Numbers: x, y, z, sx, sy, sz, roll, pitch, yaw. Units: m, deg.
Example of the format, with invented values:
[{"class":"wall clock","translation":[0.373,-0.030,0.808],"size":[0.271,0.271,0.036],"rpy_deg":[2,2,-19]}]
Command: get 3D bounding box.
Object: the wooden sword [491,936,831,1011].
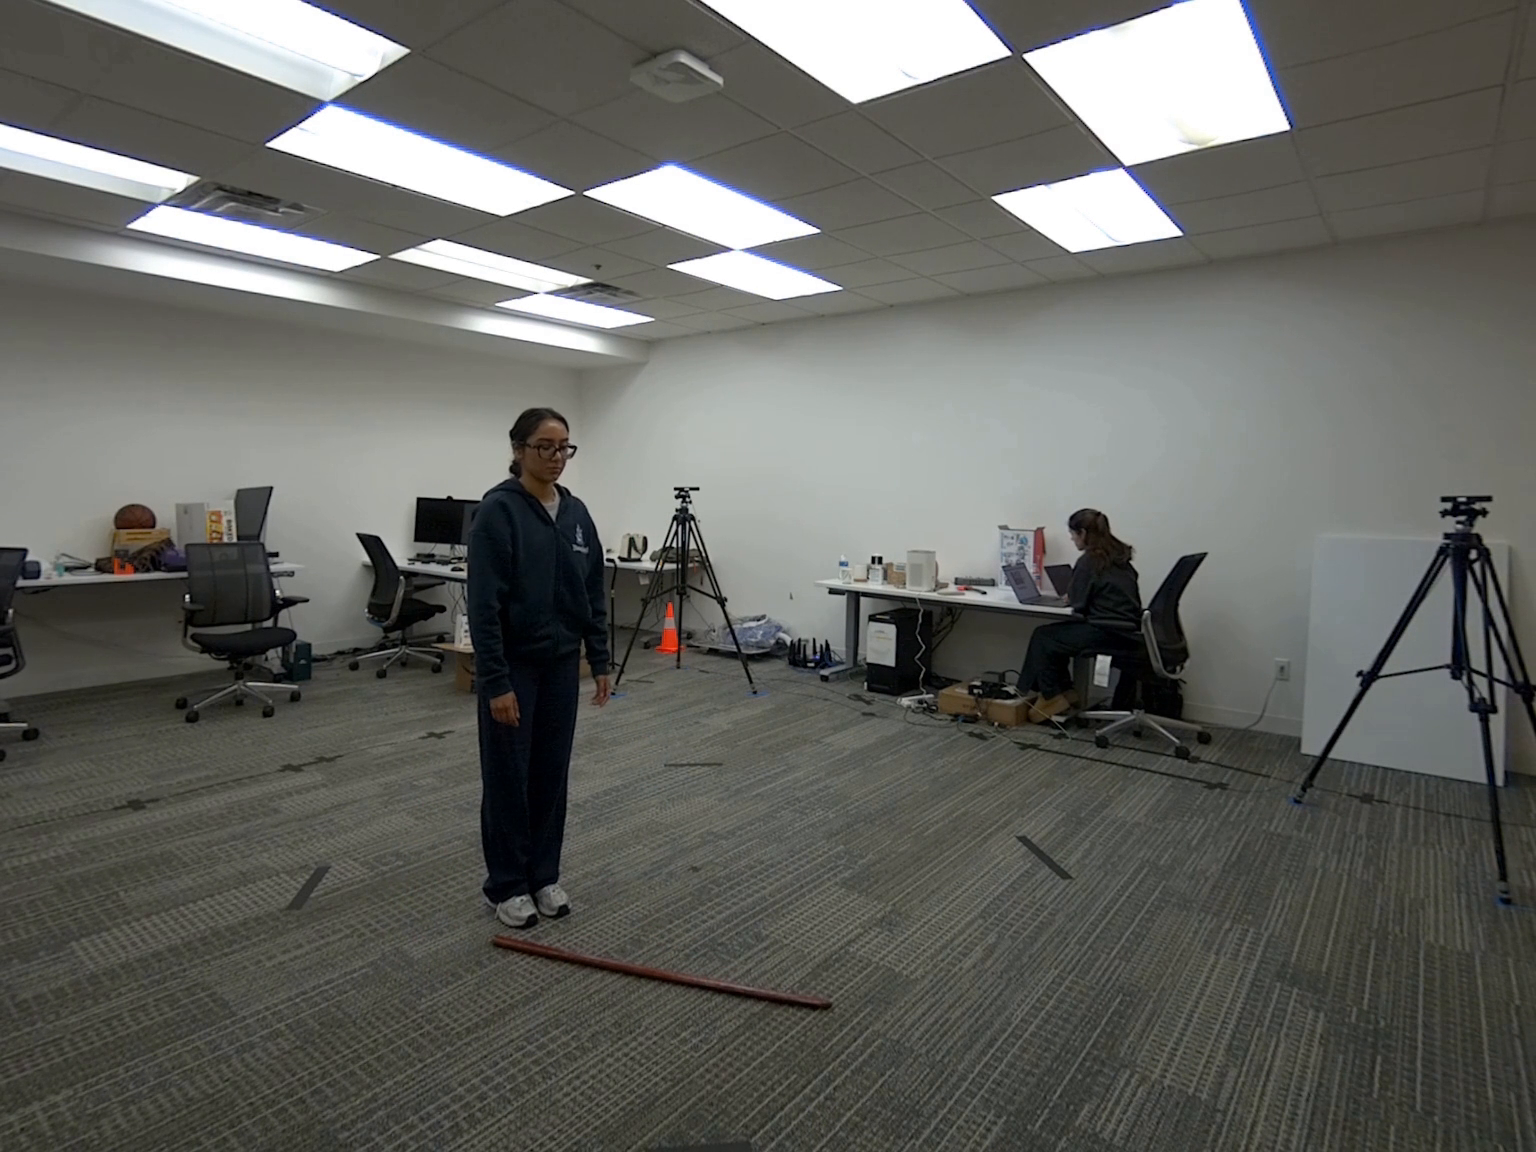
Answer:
[{"class":"wooden sword","translation":[-0.356,1.112,2.427],"size":[1.043,0.024,0.050],"rpy_deg":[3,-4,16]}]
